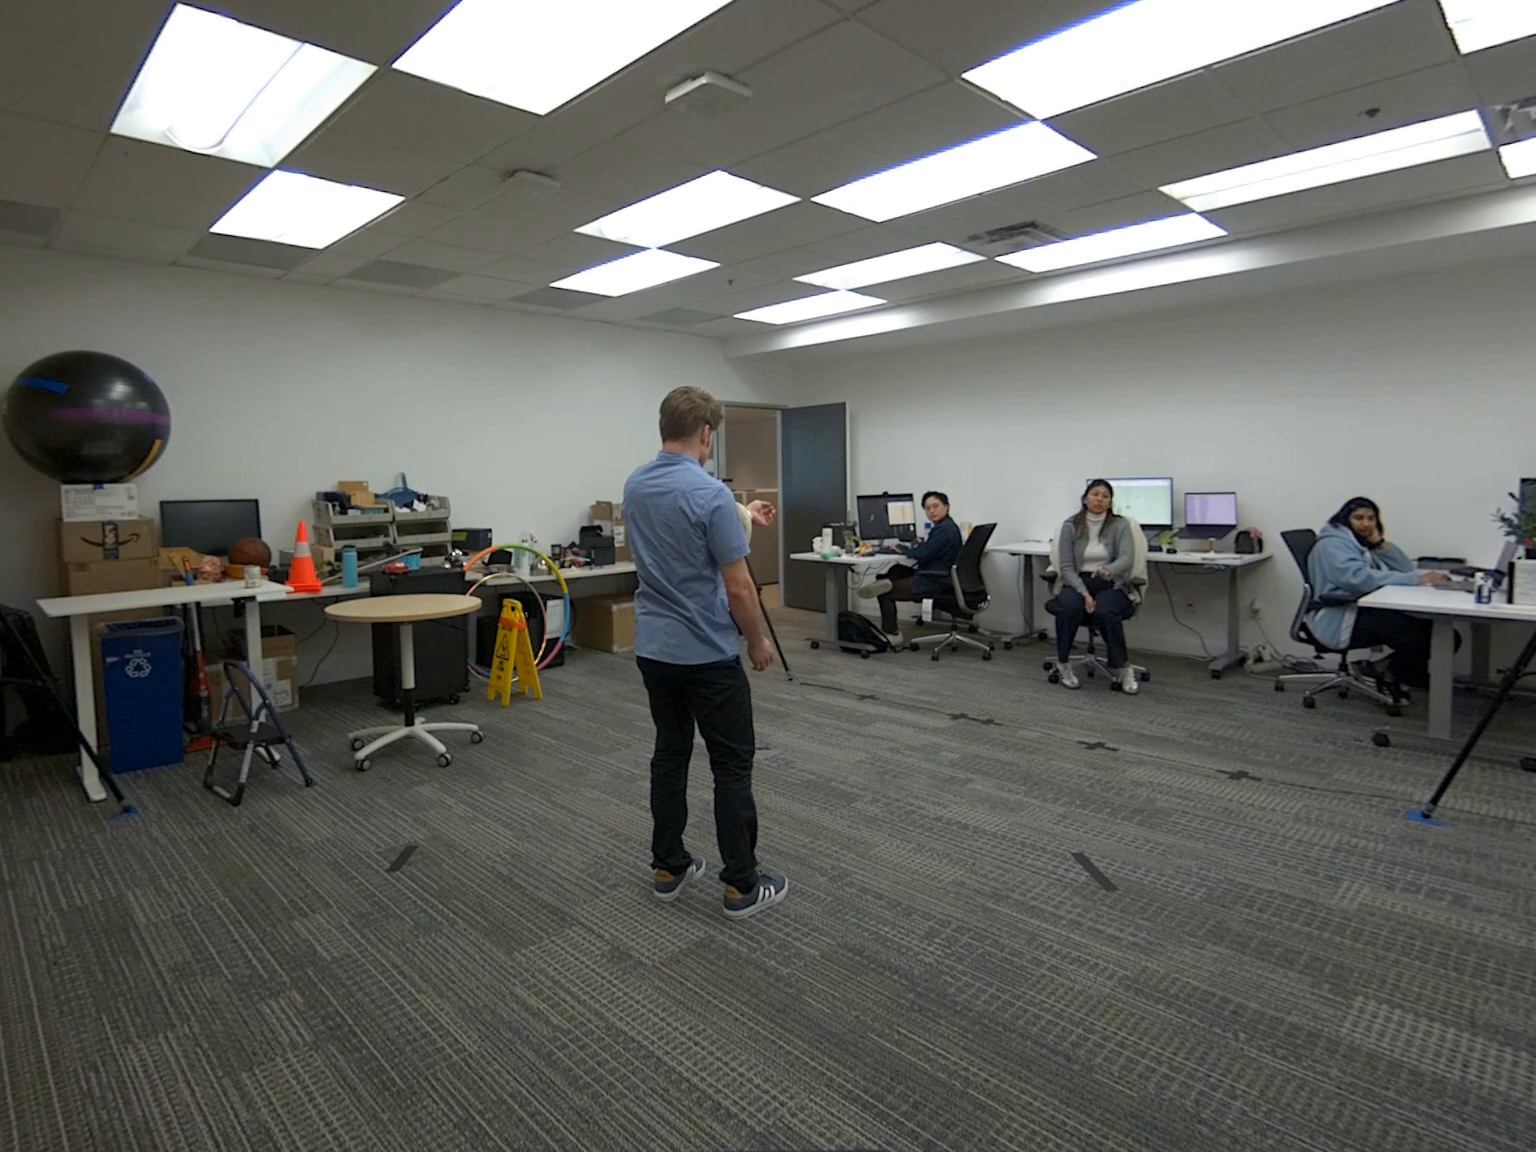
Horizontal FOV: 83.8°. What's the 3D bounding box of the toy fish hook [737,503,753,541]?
[{"bbox_3d":[-0.163,-0.035,3.198,0.047,0.501,0.233,2,21,-32],"label":"toy fish hook"}]
